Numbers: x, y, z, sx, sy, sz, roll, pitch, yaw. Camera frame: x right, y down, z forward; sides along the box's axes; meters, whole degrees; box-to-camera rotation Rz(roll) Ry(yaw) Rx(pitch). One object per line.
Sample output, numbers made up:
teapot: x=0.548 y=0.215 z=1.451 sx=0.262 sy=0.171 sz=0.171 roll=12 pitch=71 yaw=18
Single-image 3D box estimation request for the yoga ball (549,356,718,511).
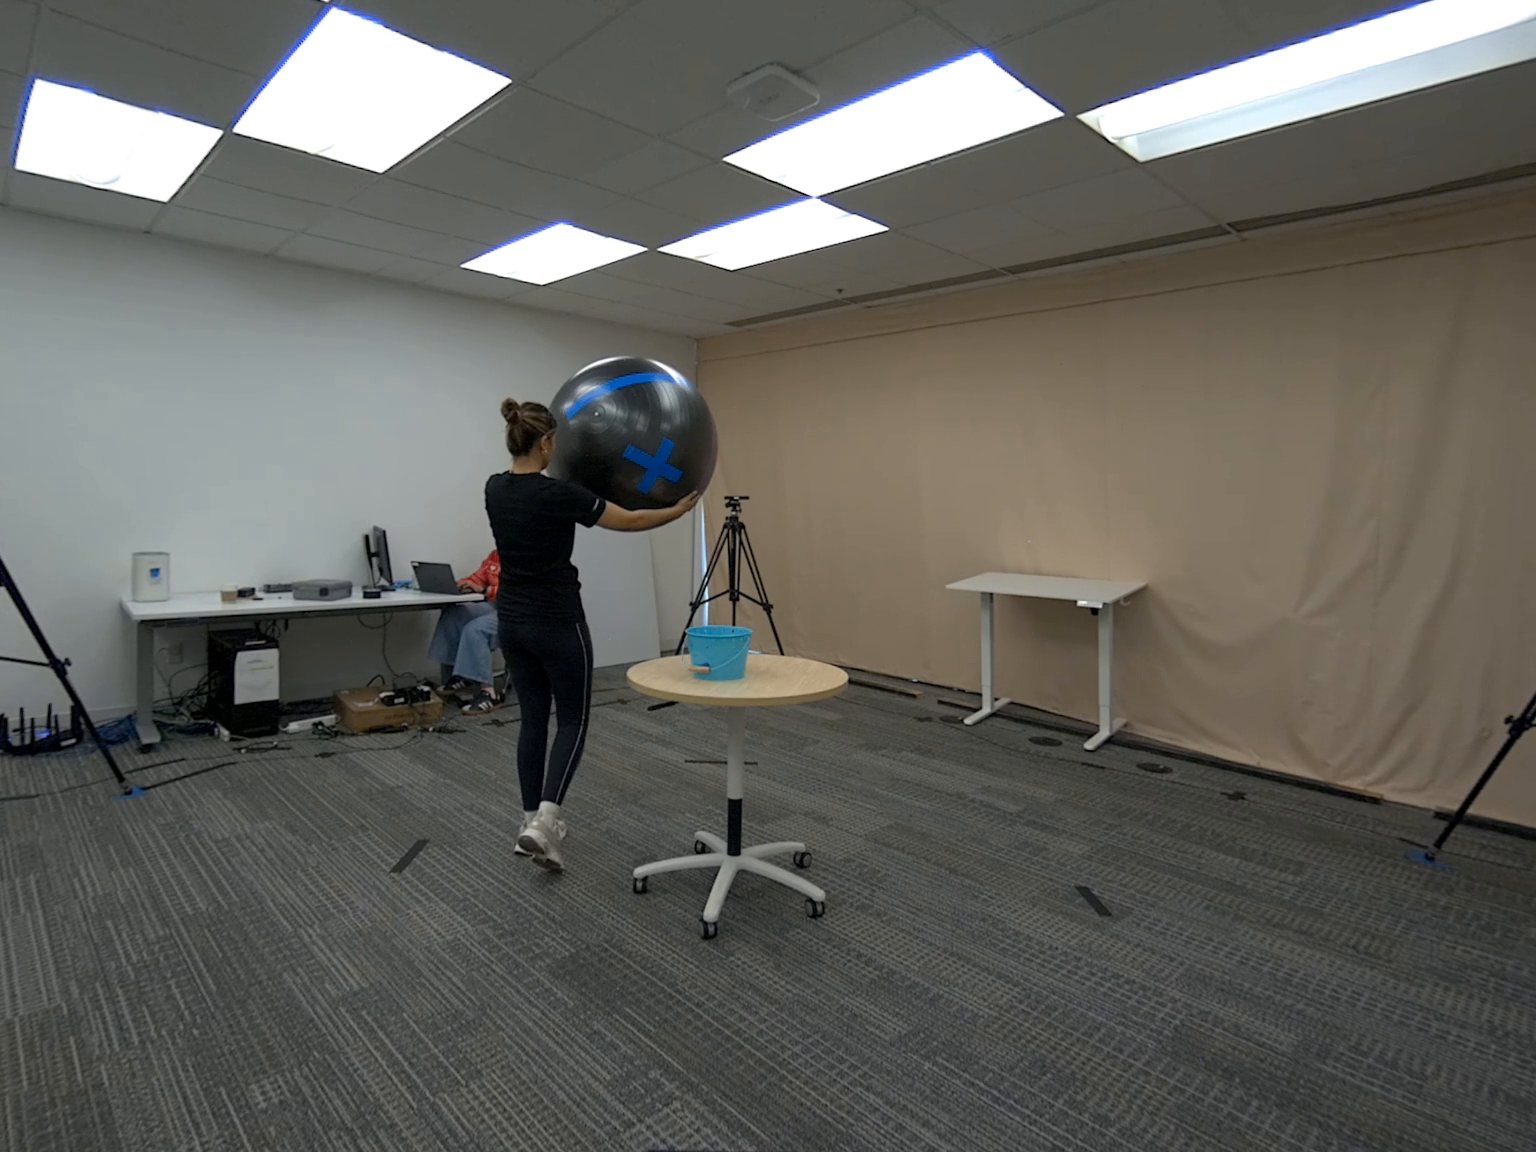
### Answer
yoga ball: x=-0.600 y=-0.561 z=3.647 sx=0.757 sy=0.756 sz=0.761 roll=1 pitch=4 yaw=-1
